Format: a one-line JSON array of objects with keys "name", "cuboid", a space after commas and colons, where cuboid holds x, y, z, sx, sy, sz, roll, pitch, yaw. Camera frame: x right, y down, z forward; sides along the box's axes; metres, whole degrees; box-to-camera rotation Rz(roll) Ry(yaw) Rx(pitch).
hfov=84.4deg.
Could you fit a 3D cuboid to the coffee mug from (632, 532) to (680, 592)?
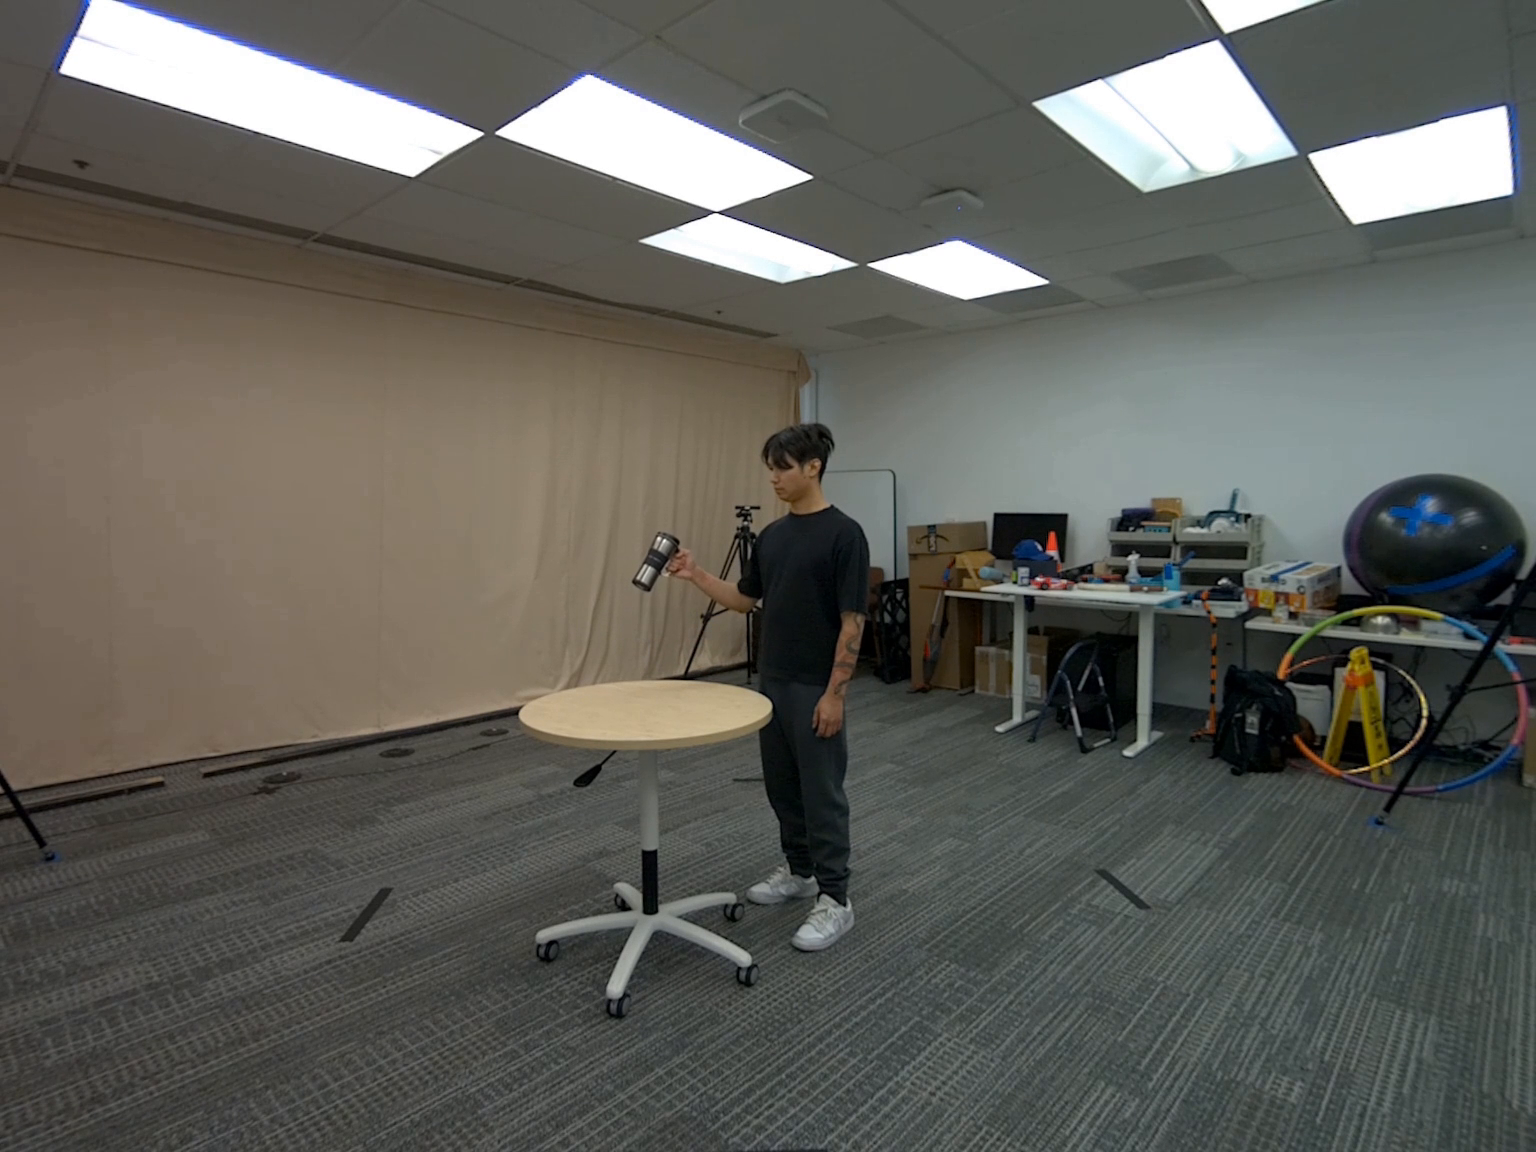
[{"name": "coffee mug", "cuboid": [-0.378, -0.045, 2.881, 0.085, 0.203, 0.125, 38, -20, -28]}]
